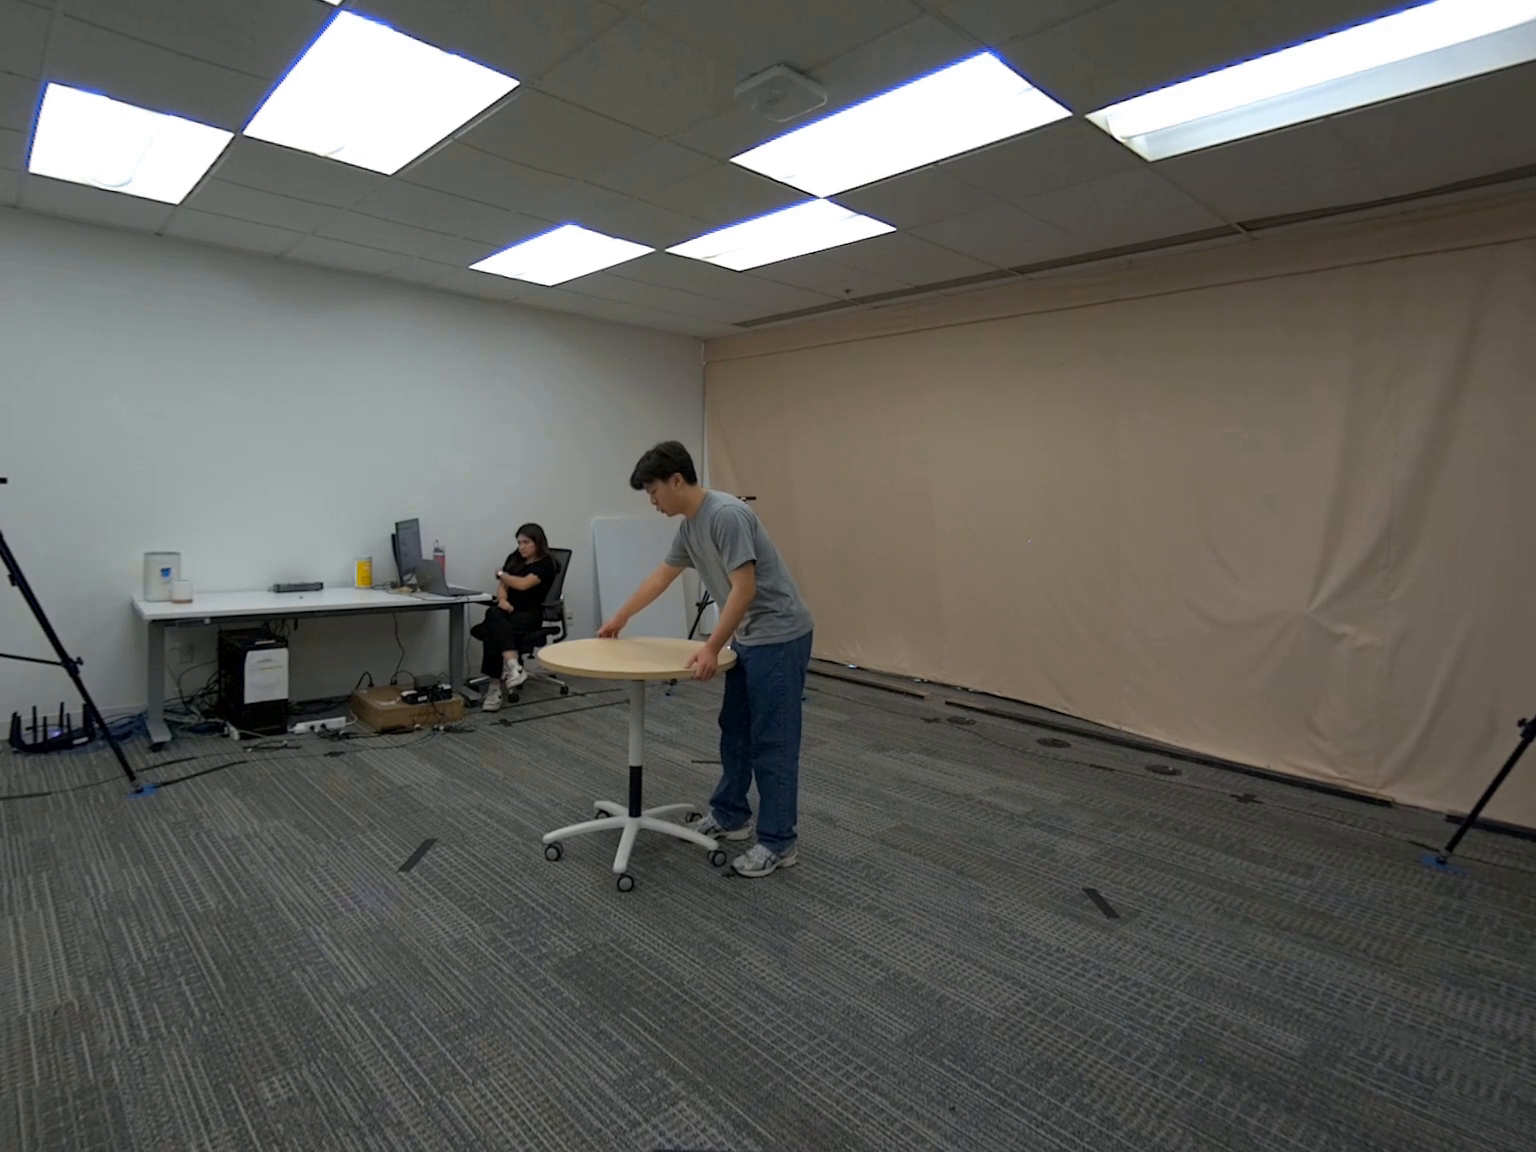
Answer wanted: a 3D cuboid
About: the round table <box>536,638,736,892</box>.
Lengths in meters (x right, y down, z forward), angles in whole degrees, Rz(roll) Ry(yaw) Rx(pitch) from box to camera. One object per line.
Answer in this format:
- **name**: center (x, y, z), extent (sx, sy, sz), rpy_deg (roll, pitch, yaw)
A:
- **round table**: center (-0.522, 0.690, 3.279), extent (0.763, 0.792, 0.766), rpy_deg (1, 3, -1)
